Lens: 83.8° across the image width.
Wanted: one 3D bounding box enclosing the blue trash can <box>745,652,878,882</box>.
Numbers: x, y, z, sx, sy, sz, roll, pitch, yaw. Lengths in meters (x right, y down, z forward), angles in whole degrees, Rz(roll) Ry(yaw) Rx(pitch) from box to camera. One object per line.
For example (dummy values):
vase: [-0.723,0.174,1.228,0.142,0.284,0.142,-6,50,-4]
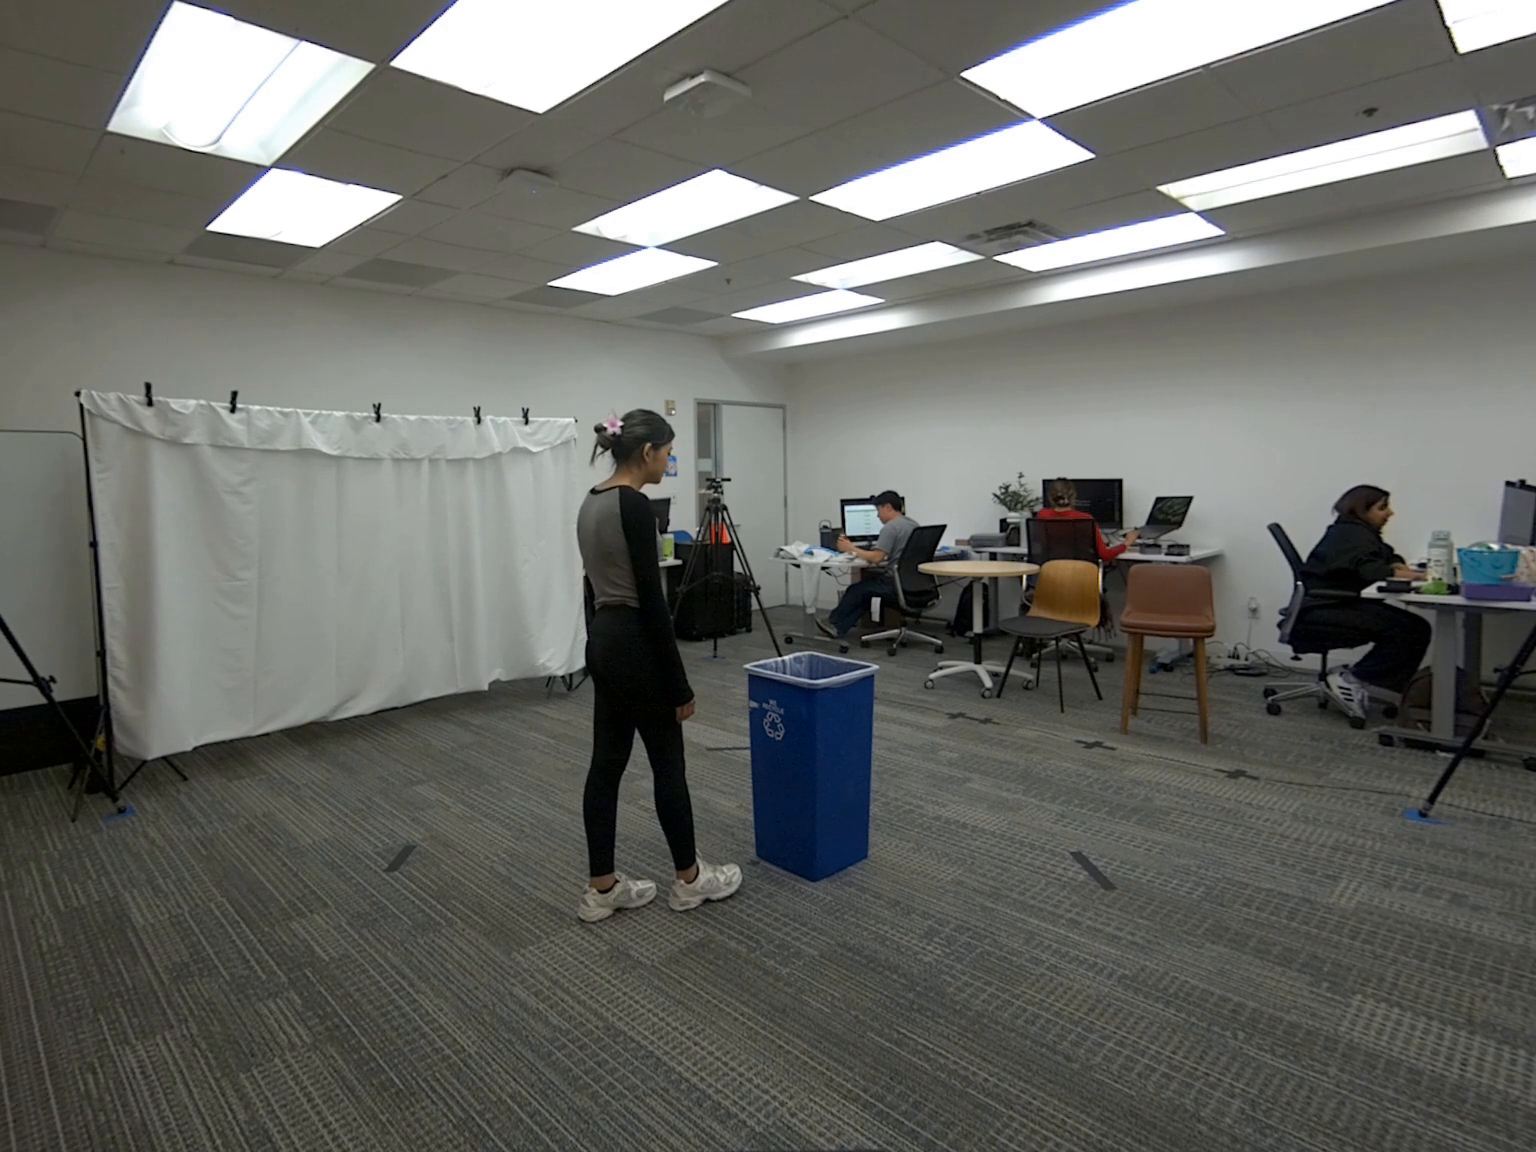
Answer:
blue trash can: [0.168,0.679,3.126,0.368,0.711,0.385,-5,5,-44]
